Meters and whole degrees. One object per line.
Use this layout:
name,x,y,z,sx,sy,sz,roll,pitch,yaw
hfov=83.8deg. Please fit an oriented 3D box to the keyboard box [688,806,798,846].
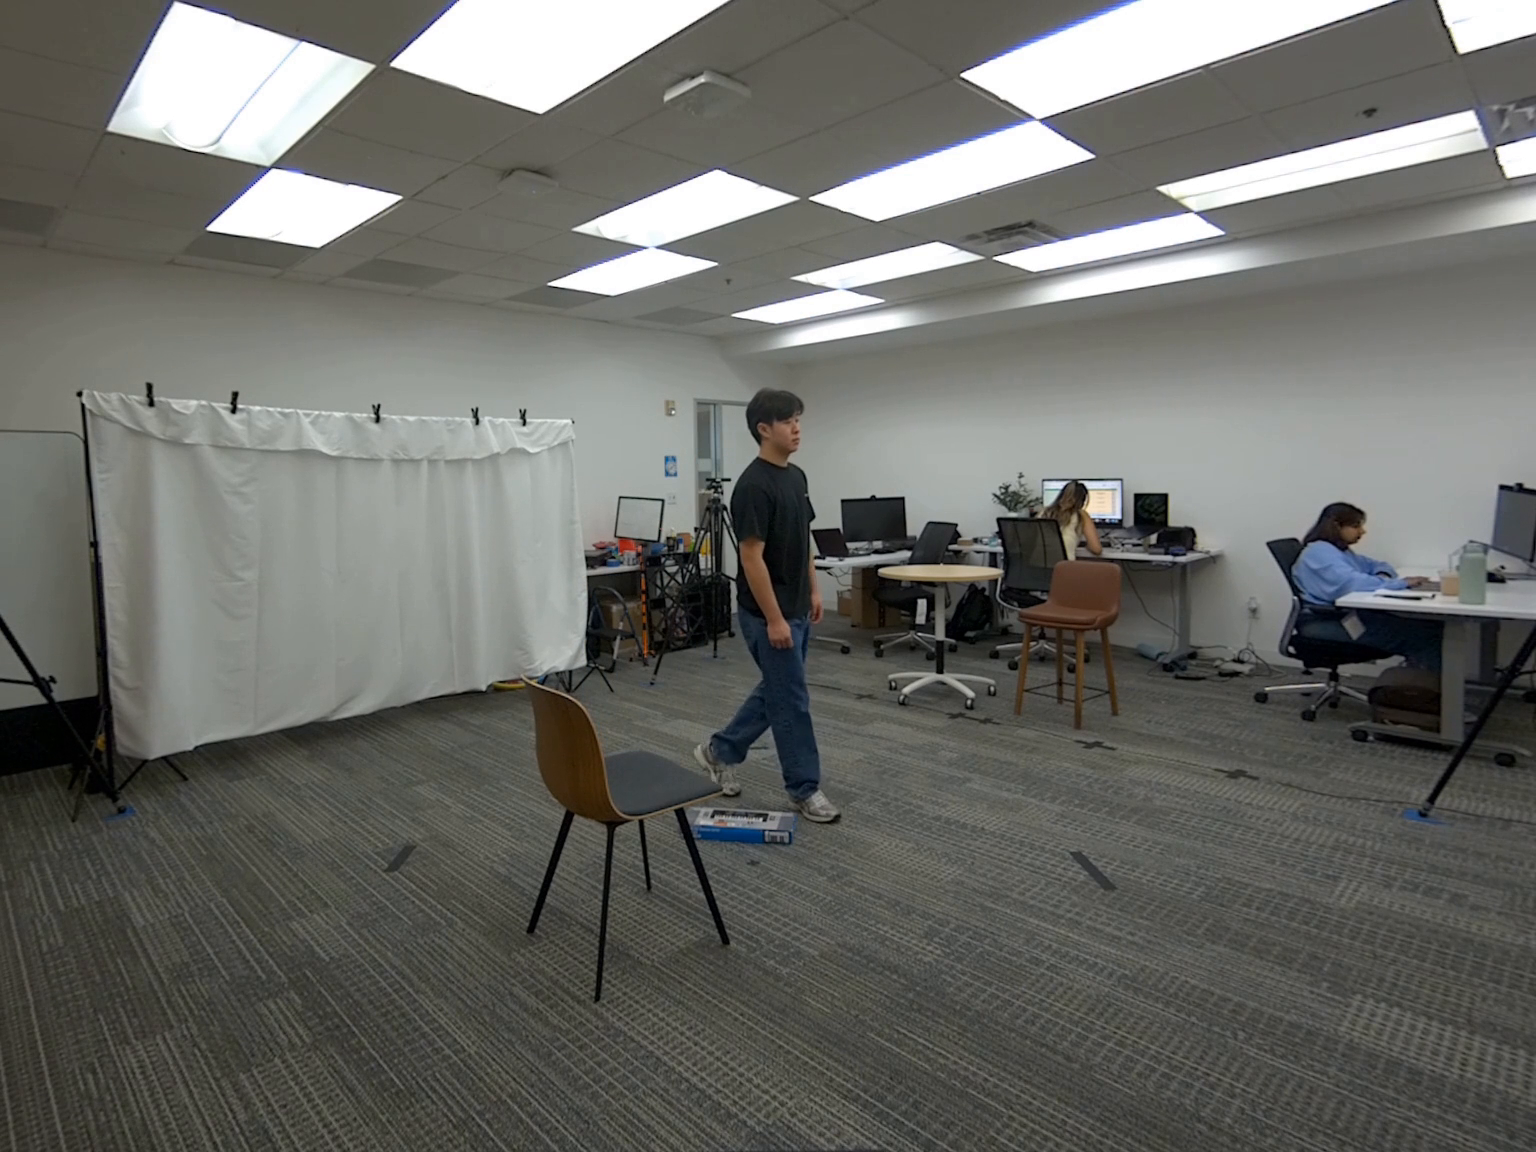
keyboard box,-0.115,0.988,3.370,0.442,0.059,0.175,1,7,11
